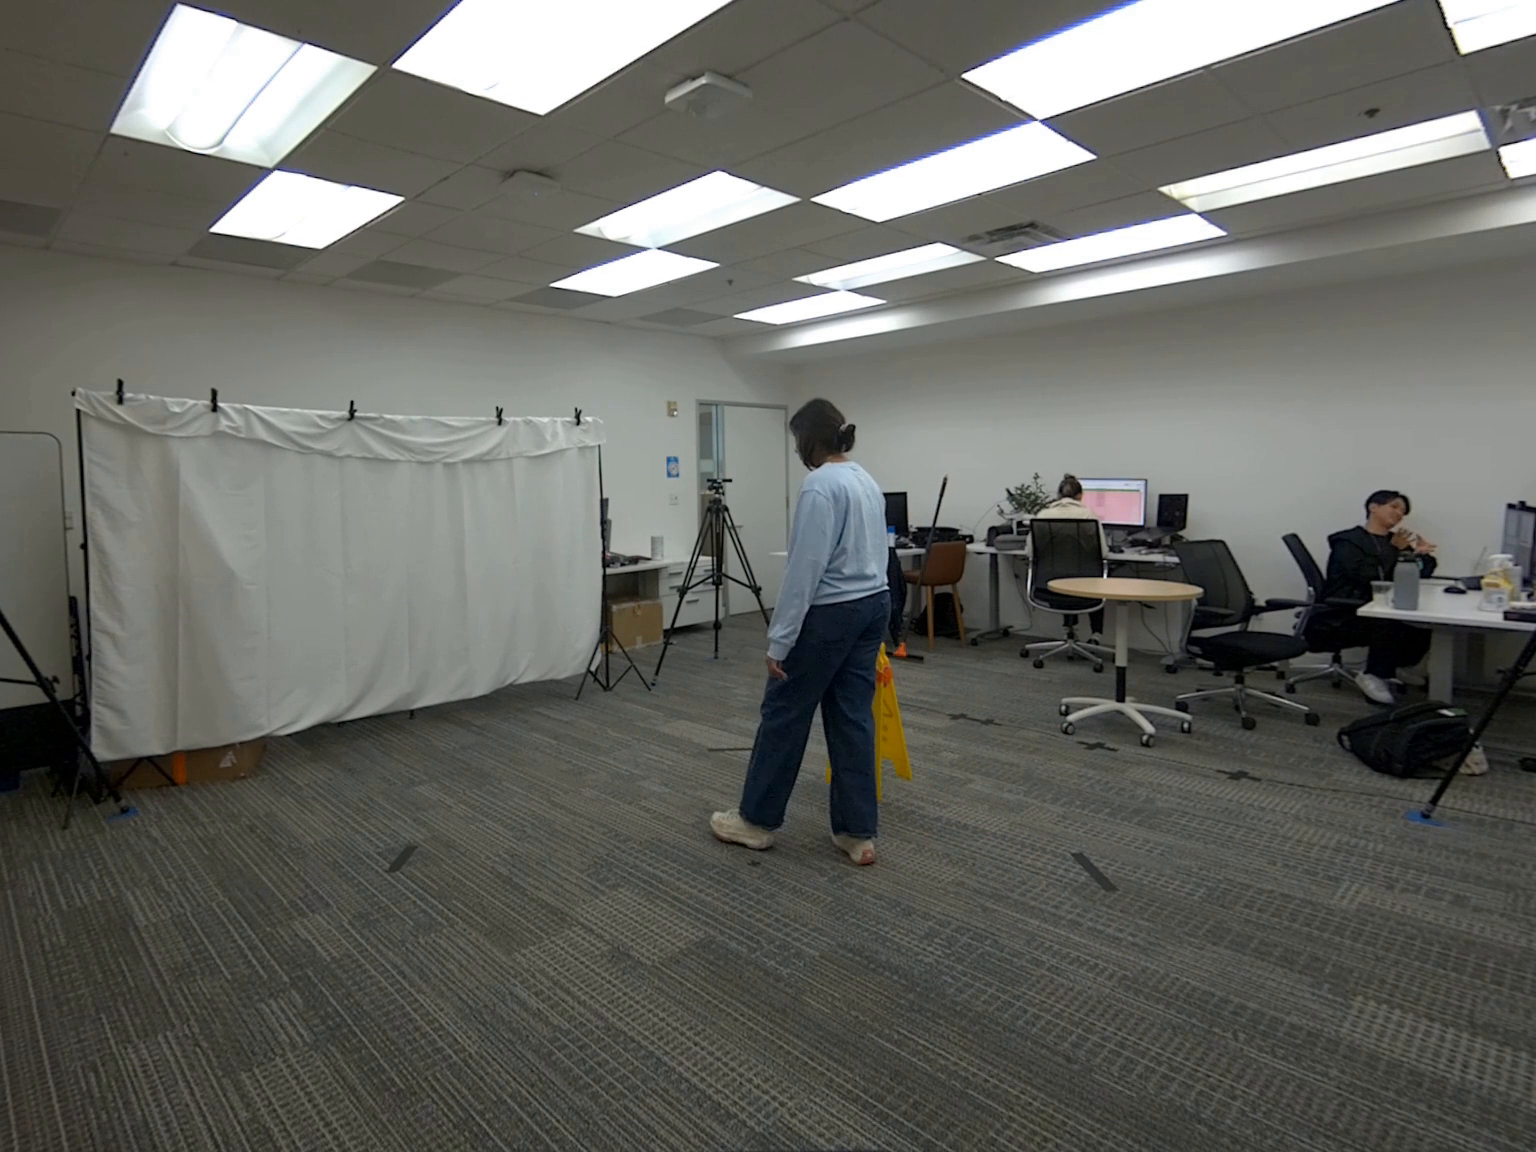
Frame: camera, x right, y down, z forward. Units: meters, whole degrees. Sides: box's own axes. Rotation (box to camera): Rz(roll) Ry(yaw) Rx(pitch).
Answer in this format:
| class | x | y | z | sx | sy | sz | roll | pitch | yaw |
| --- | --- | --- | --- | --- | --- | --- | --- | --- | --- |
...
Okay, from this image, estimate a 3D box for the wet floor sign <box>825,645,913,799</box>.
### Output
| class | x | y | z | sx | sy | sz | roll | pitch | yaw |
| --- | --- | --- | --- | --- | --- | --- | --- | --- | --- |
| wet floor sign | 0.408 | 0.561 | 3.551 | 0.291 | 0.639 | 0.283 | 6 | 15 | 44 |
